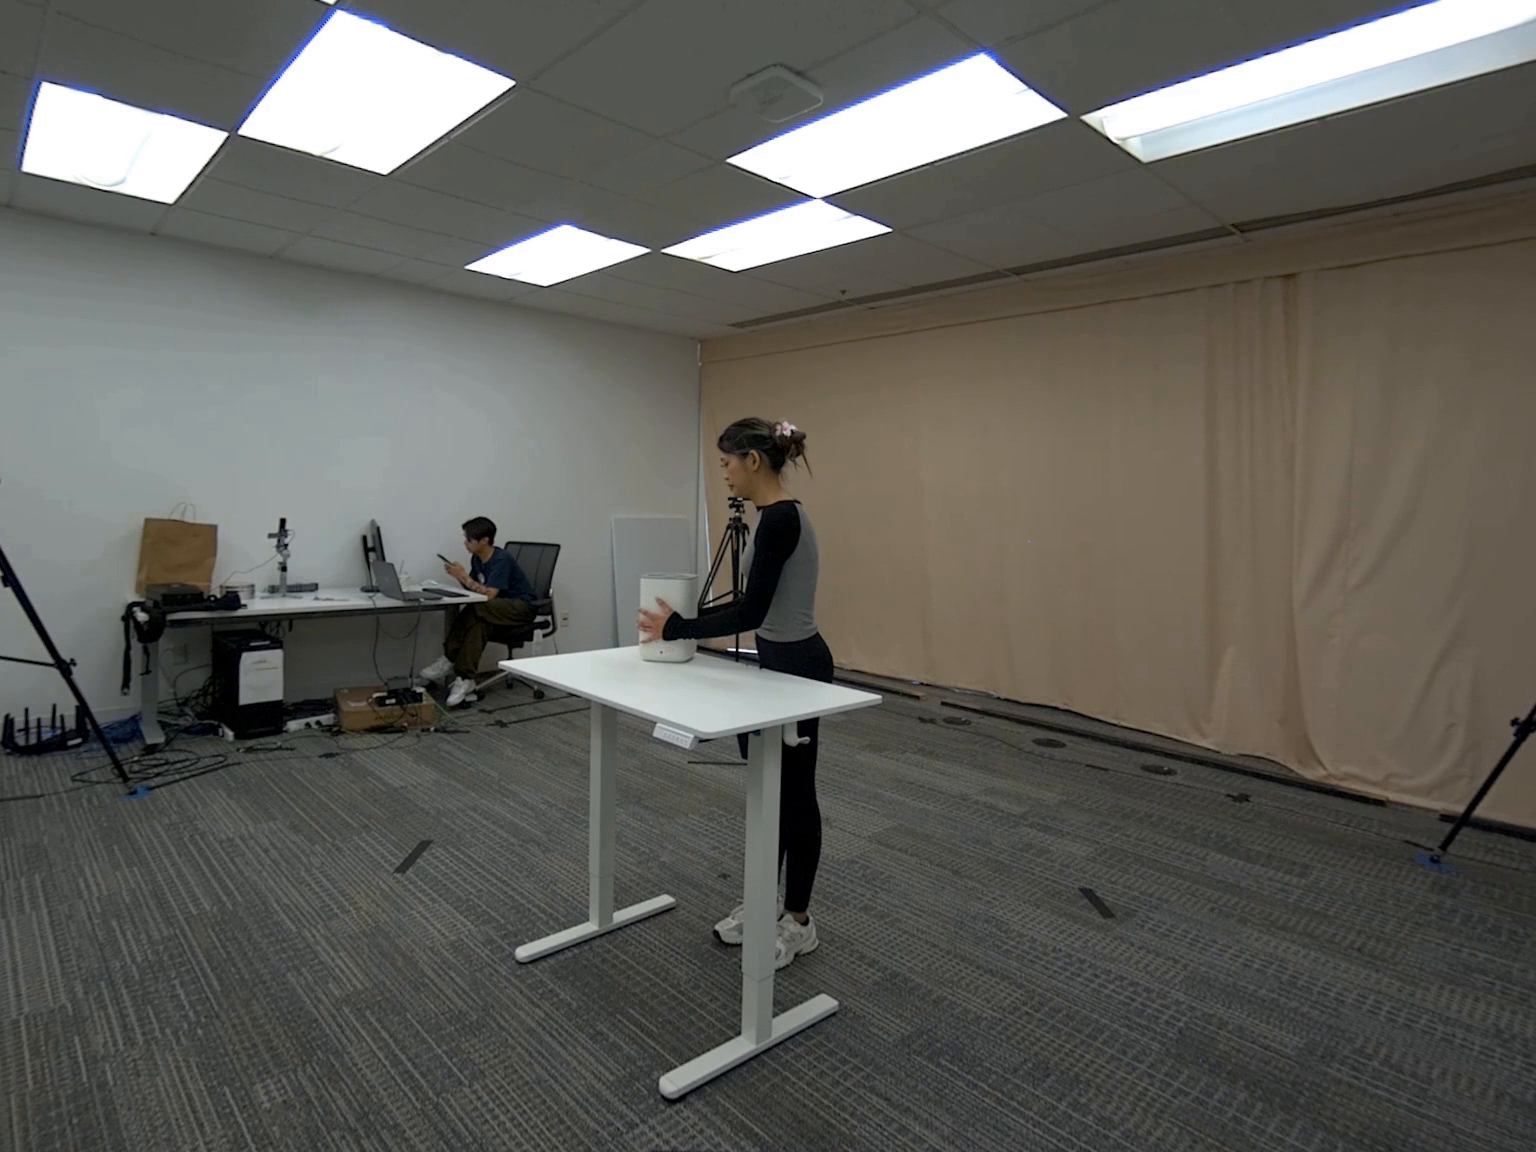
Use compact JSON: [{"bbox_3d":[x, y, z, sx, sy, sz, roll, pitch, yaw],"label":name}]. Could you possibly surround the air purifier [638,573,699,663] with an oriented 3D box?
[{"bbox_3d":[-0.315,0.133,2.667,0.172,0.265,0.171,1,4,8],"label":"air purifier"}]
